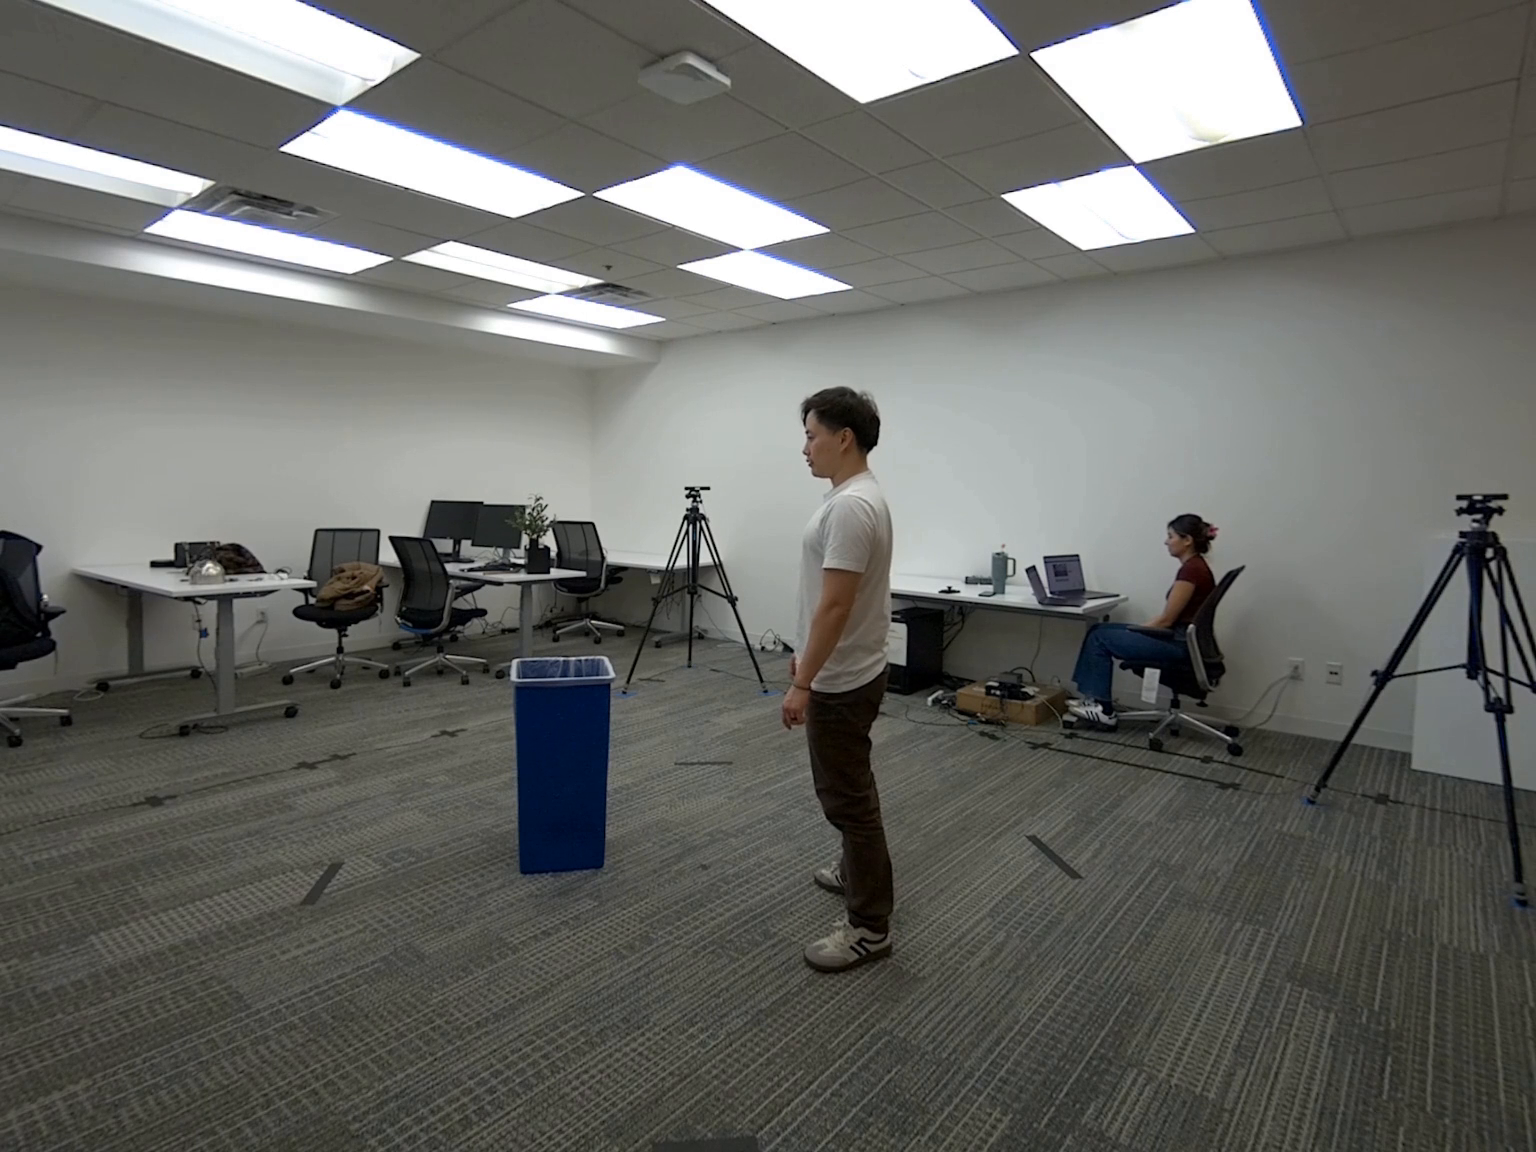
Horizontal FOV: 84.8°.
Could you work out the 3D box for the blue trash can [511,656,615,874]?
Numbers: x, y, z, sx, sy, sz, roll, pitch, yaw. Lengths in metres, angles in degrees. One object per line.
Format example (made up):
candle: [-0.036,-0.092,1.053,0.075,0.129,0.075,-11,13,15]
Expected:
blue trash can: [-0.795,0.694,3.186,0.369,0.711,0.385,0,3,-14]
